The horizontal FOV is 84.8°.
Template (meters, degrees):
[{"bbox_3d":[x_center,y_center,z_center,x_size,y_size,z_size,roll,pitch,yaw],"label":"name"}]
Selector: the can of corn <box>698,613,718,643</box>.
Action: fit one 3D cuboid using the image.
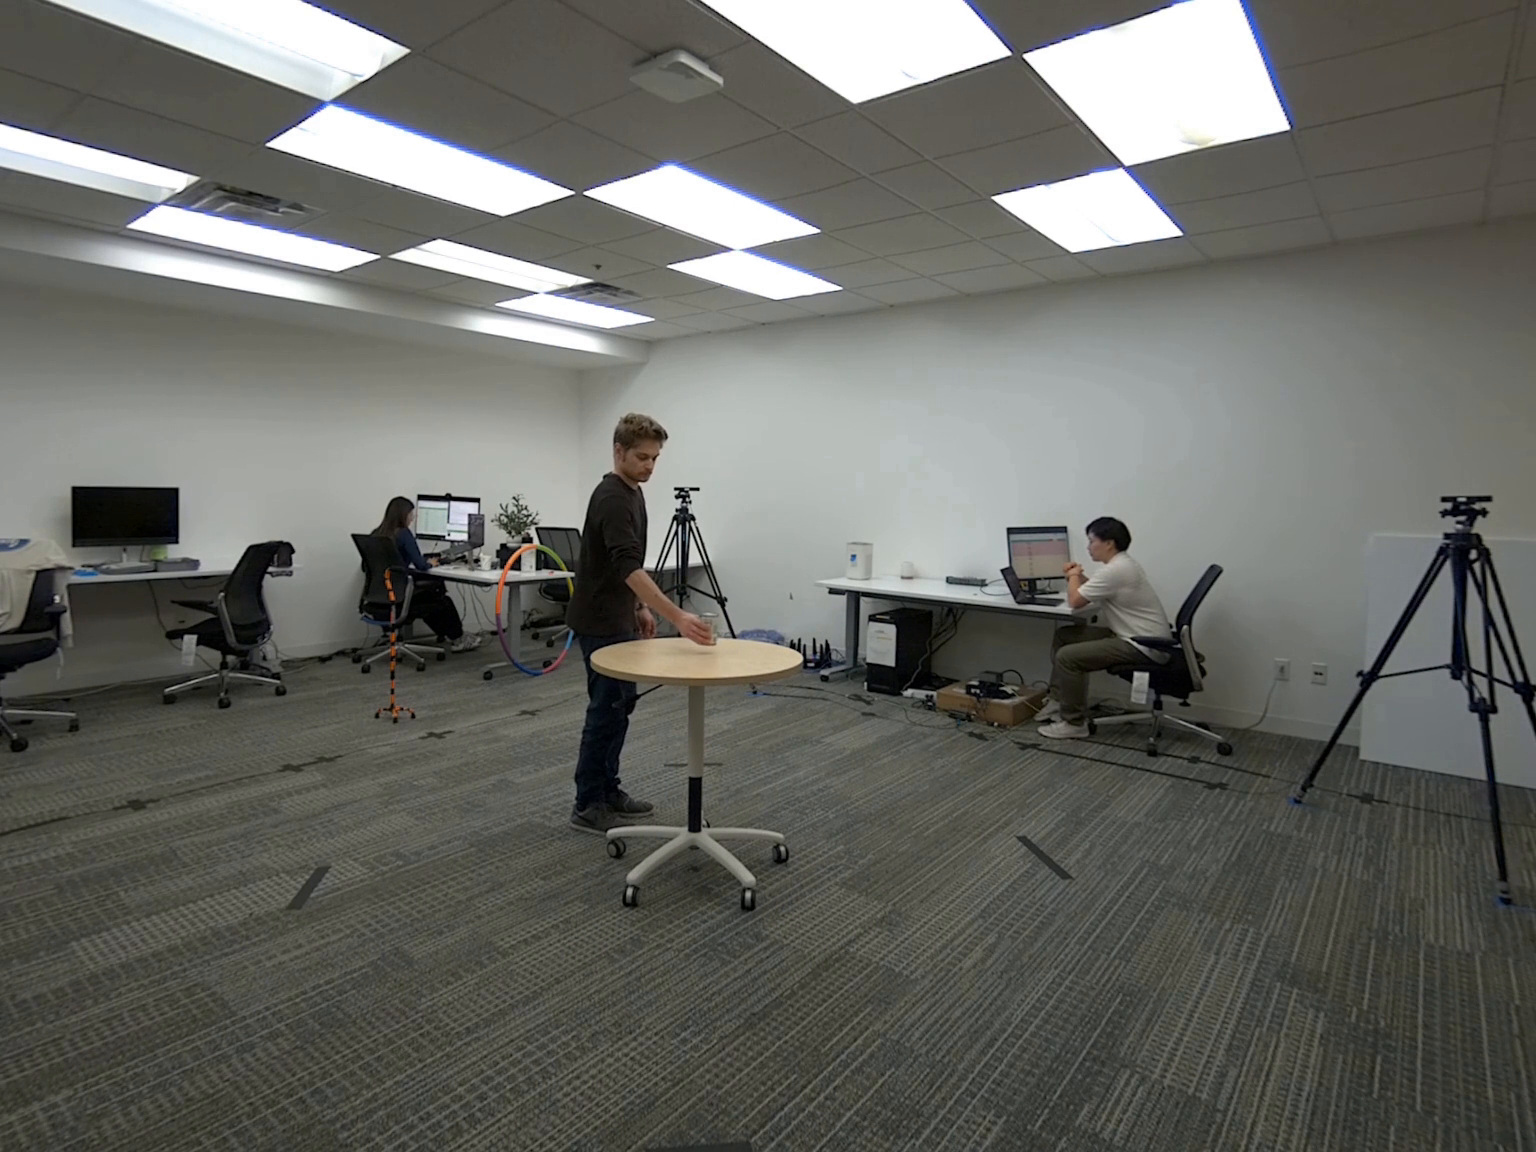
[{"bbox_3d":[-0.231,0.197,3.119,0.074,0.110,0.075,2,5,-2],"label":"can of corn"}]
